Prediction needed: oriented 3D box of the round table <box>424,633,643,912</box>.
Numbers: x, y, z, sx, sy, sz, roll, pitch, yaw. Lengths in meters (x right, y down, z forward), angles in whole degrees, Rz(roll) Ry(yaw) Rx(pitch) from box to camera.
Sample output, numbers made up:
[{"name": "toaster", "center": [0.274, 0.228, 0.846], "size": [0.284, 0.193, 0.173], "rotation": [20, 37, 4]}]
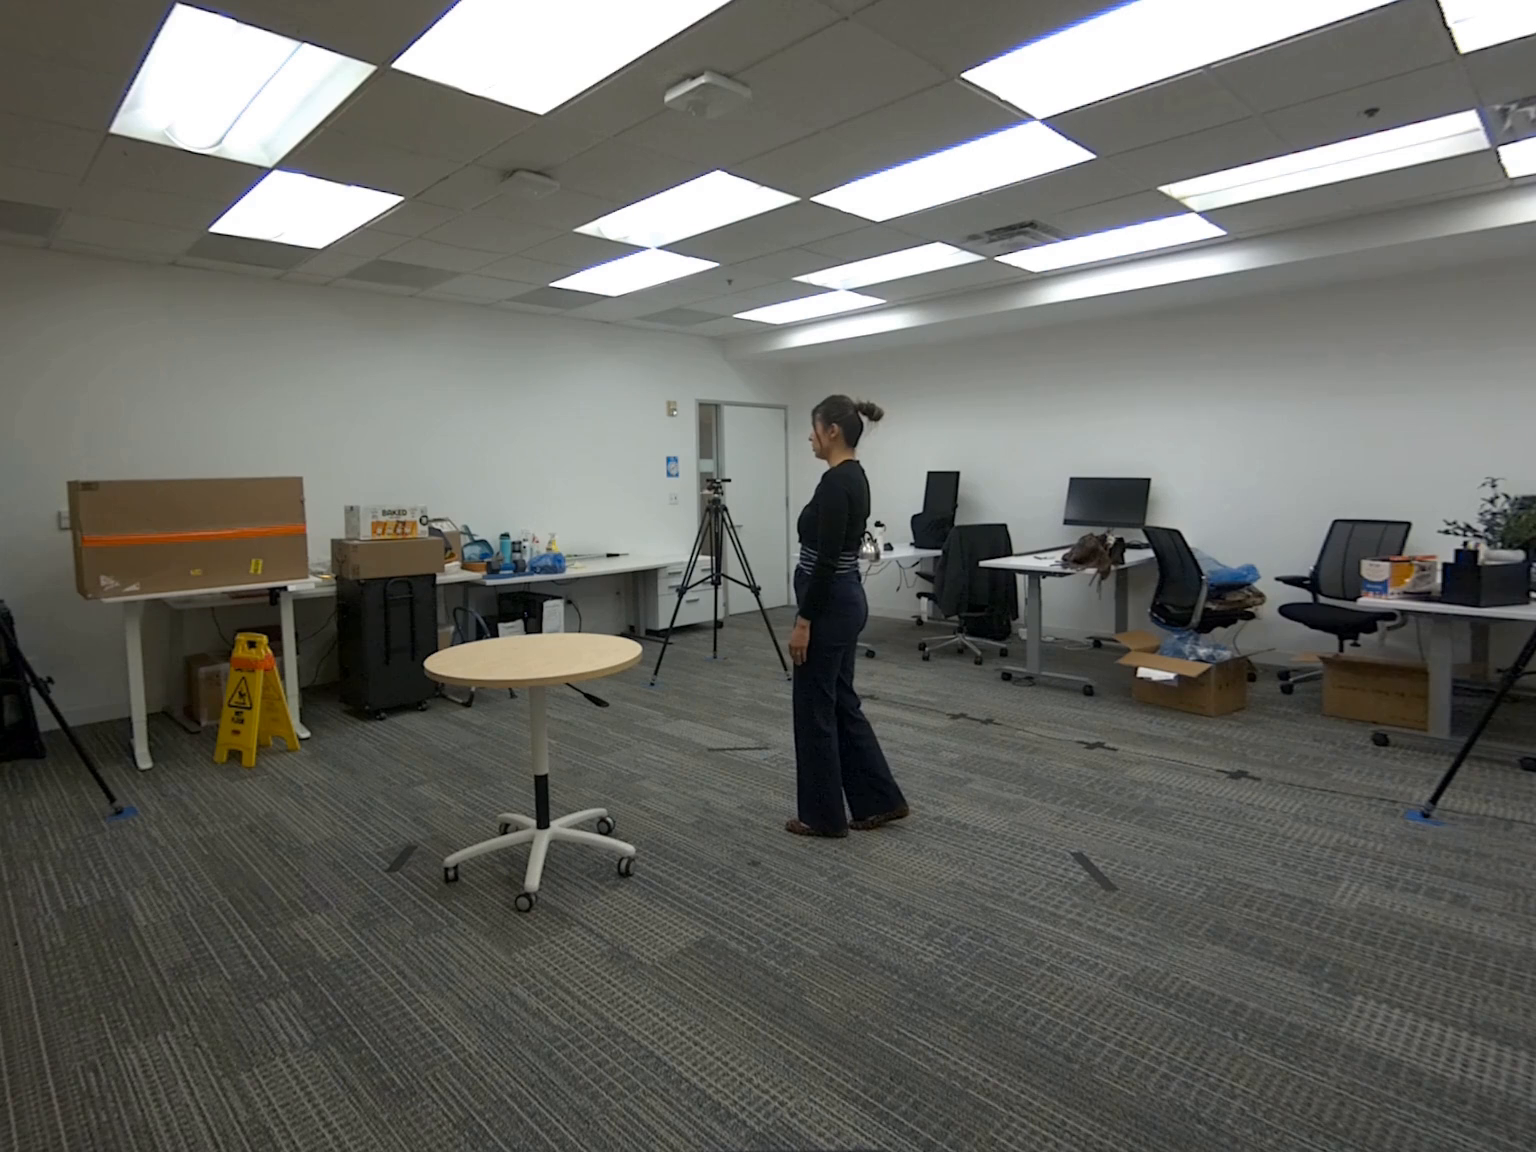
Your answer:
[{"name": "round table", "center": [-0.819, 0.669, 3.109], "size": [0.763, 0.791, 0.768], "rotation": [-2, 5, -2]}]
